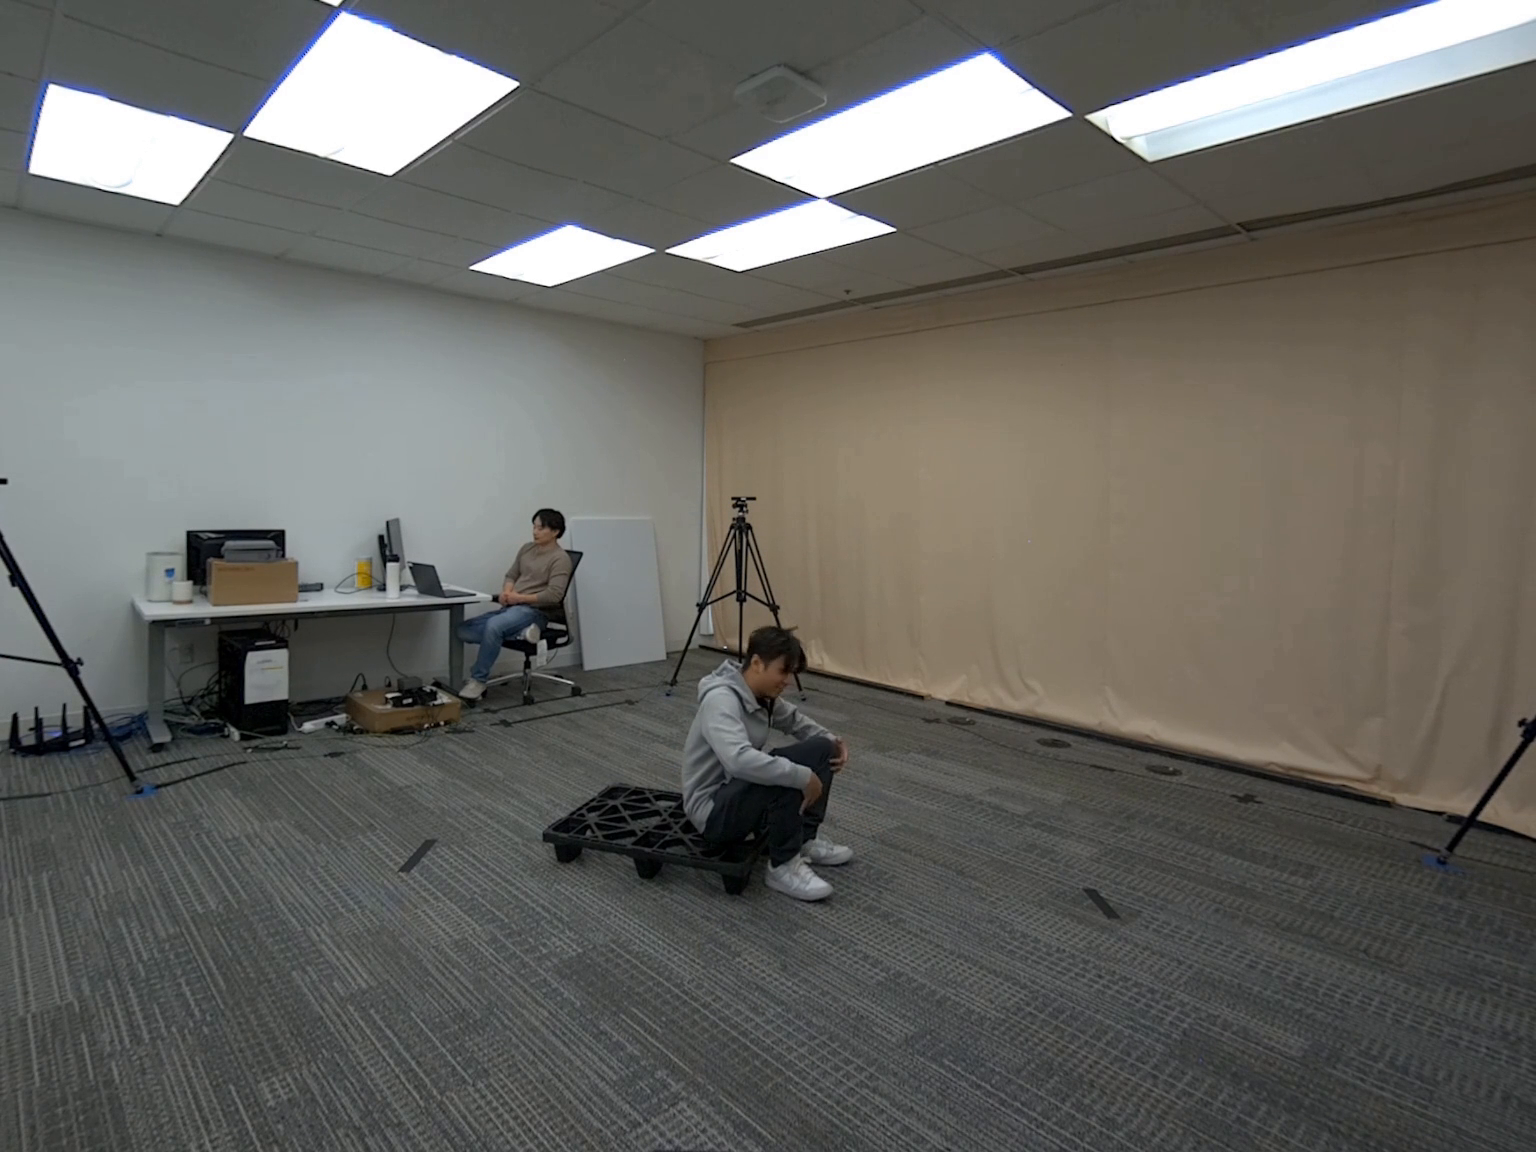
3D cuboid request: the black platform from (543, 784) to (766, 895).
[{"bbox_3d":[-0.382,1.011,3.286,0.818,0.143,0.598,3,6,18],"label":"black platform"}]
